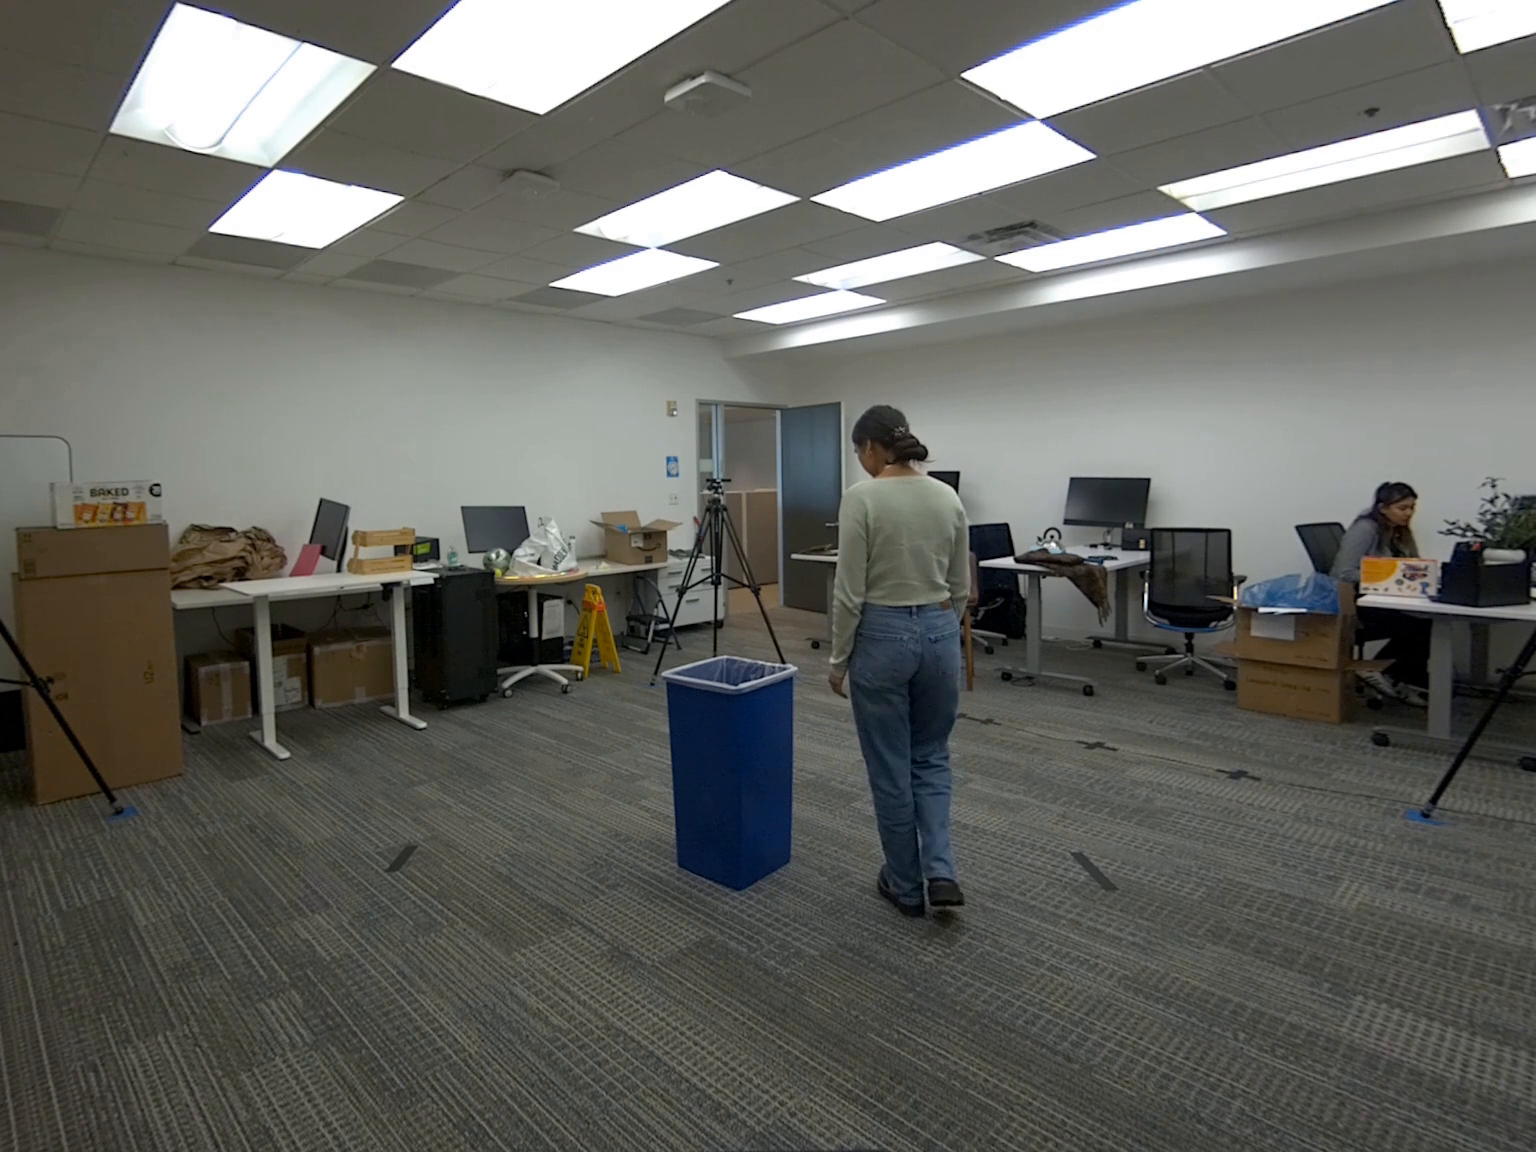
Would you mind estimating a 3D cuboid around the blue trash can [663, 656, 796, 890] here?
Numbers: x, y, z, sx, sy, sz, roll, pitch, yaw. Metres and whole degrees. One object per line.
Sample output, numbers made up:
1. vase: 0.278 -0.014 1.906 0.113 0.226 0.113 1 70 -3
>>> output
1. blue trash can: -0.127 0.690 3.071 0.389 0.711 0.364 2 5 39
